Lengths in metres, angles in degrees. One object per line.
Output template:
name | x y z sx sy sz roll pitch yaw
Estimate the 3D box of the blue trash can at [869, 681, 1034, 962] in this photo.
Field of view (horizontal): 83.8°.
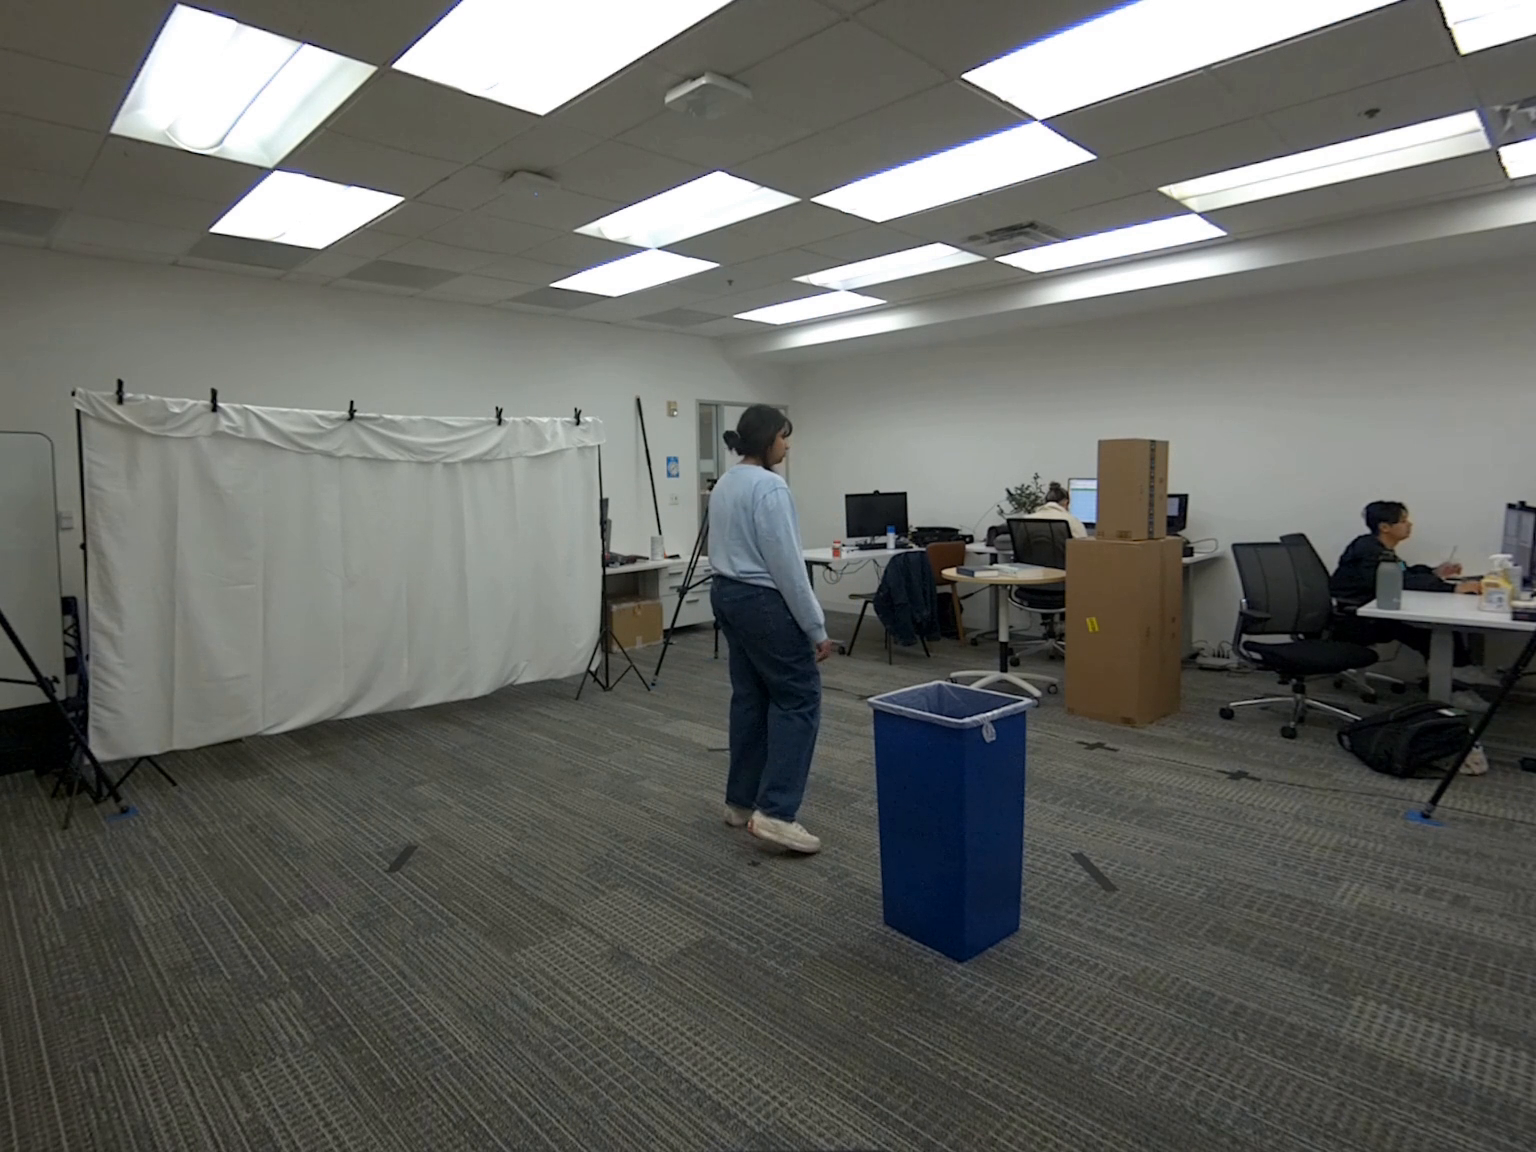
blue trash can | 0.567 0.732 2.640 0.364 0.711 0.389 -5 5 -41
